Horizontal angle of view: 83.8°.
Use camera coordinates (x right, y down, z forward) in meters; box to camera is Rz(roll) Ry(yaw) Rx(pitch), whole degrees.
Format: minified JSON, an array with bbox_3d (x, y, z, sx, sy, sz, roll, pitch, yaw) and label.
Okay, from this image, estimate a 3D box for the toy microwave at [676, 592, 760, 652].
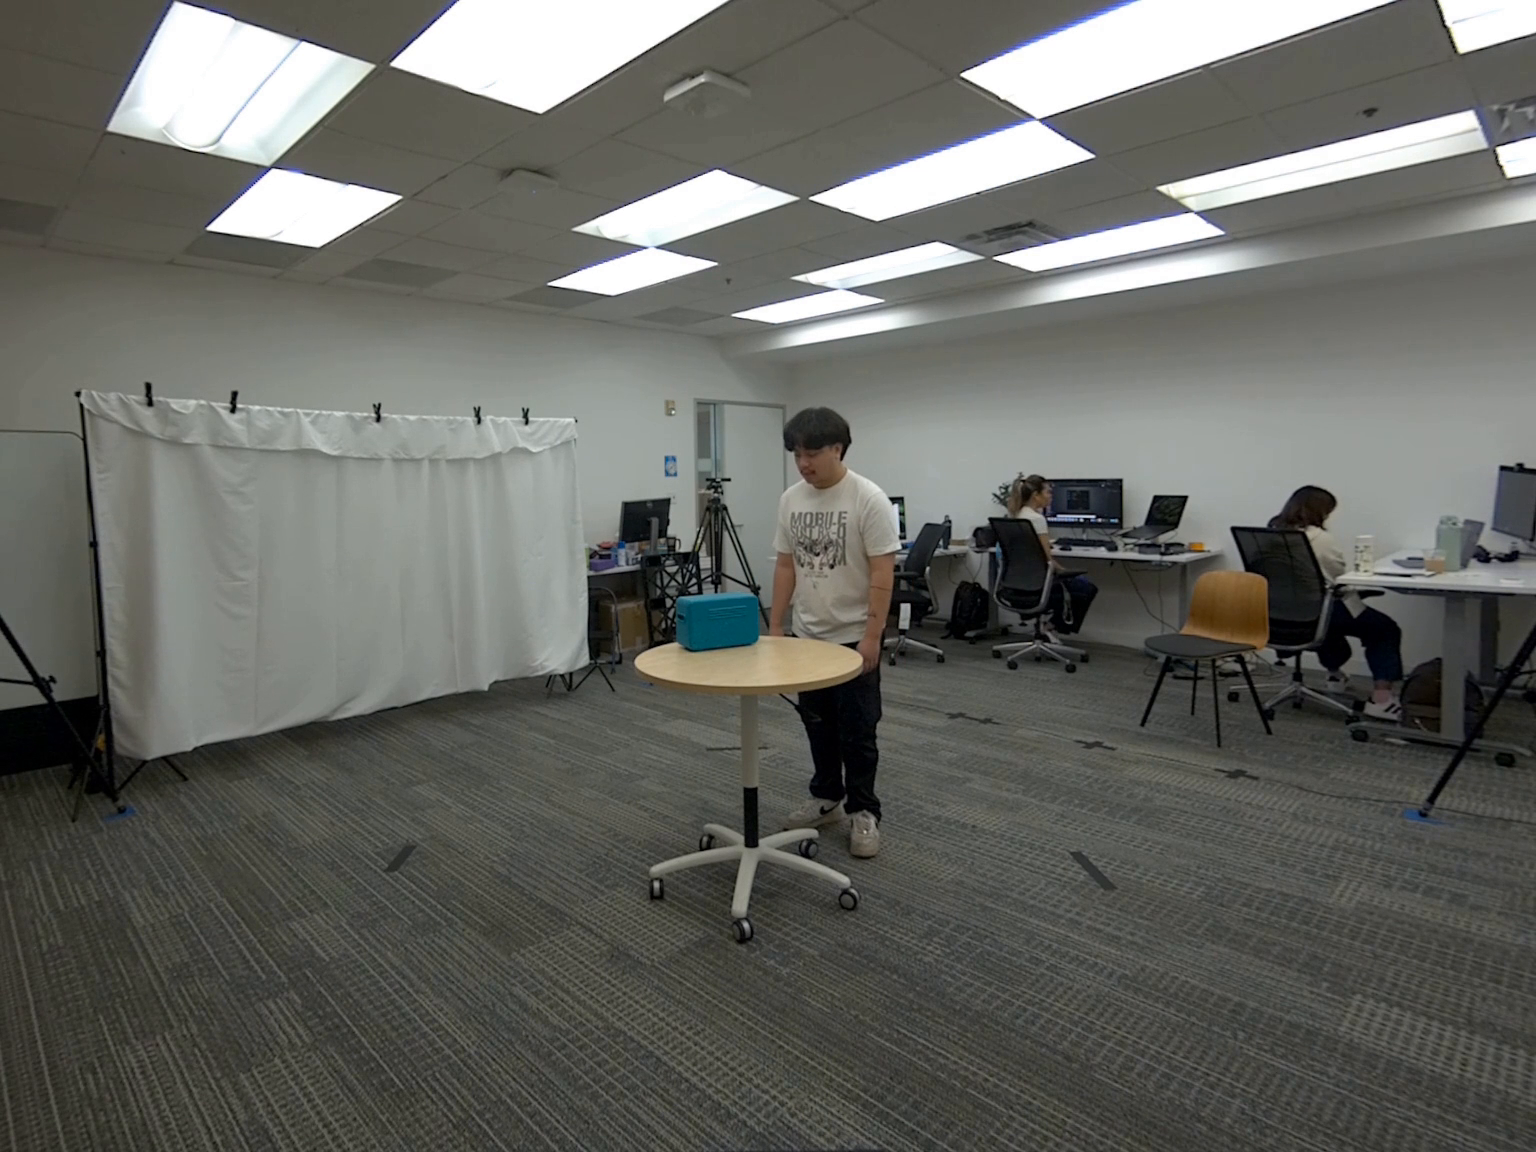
[{"bbox_3d":[-0.186,0.159,3.093,0.280,0.183,0.156,-4,6,-27],"label":"toy microwave"}]
